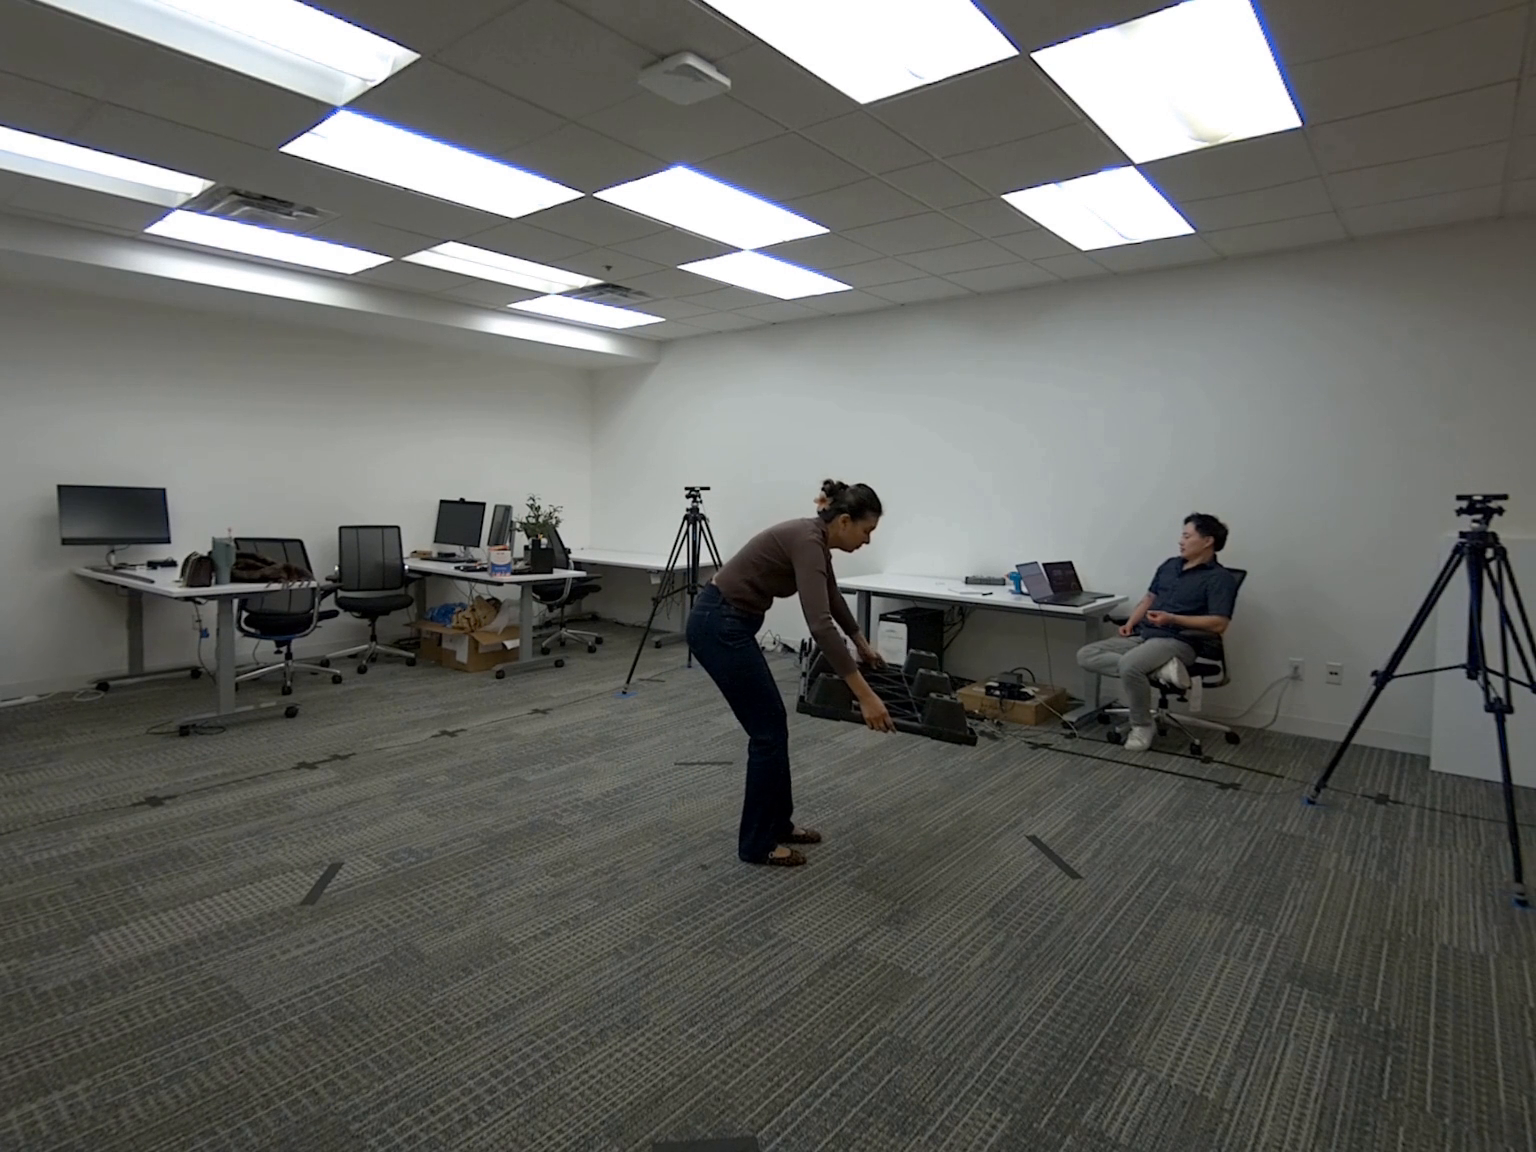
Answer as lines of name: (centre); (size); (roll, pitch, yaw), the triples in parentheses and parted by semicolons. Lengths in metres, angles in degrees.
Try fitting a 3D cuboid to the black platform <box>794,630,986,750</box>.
black platform: (0.417, 0.398, 3.173); (0.609, 0.142, 0.805); (8, 8, 3)
